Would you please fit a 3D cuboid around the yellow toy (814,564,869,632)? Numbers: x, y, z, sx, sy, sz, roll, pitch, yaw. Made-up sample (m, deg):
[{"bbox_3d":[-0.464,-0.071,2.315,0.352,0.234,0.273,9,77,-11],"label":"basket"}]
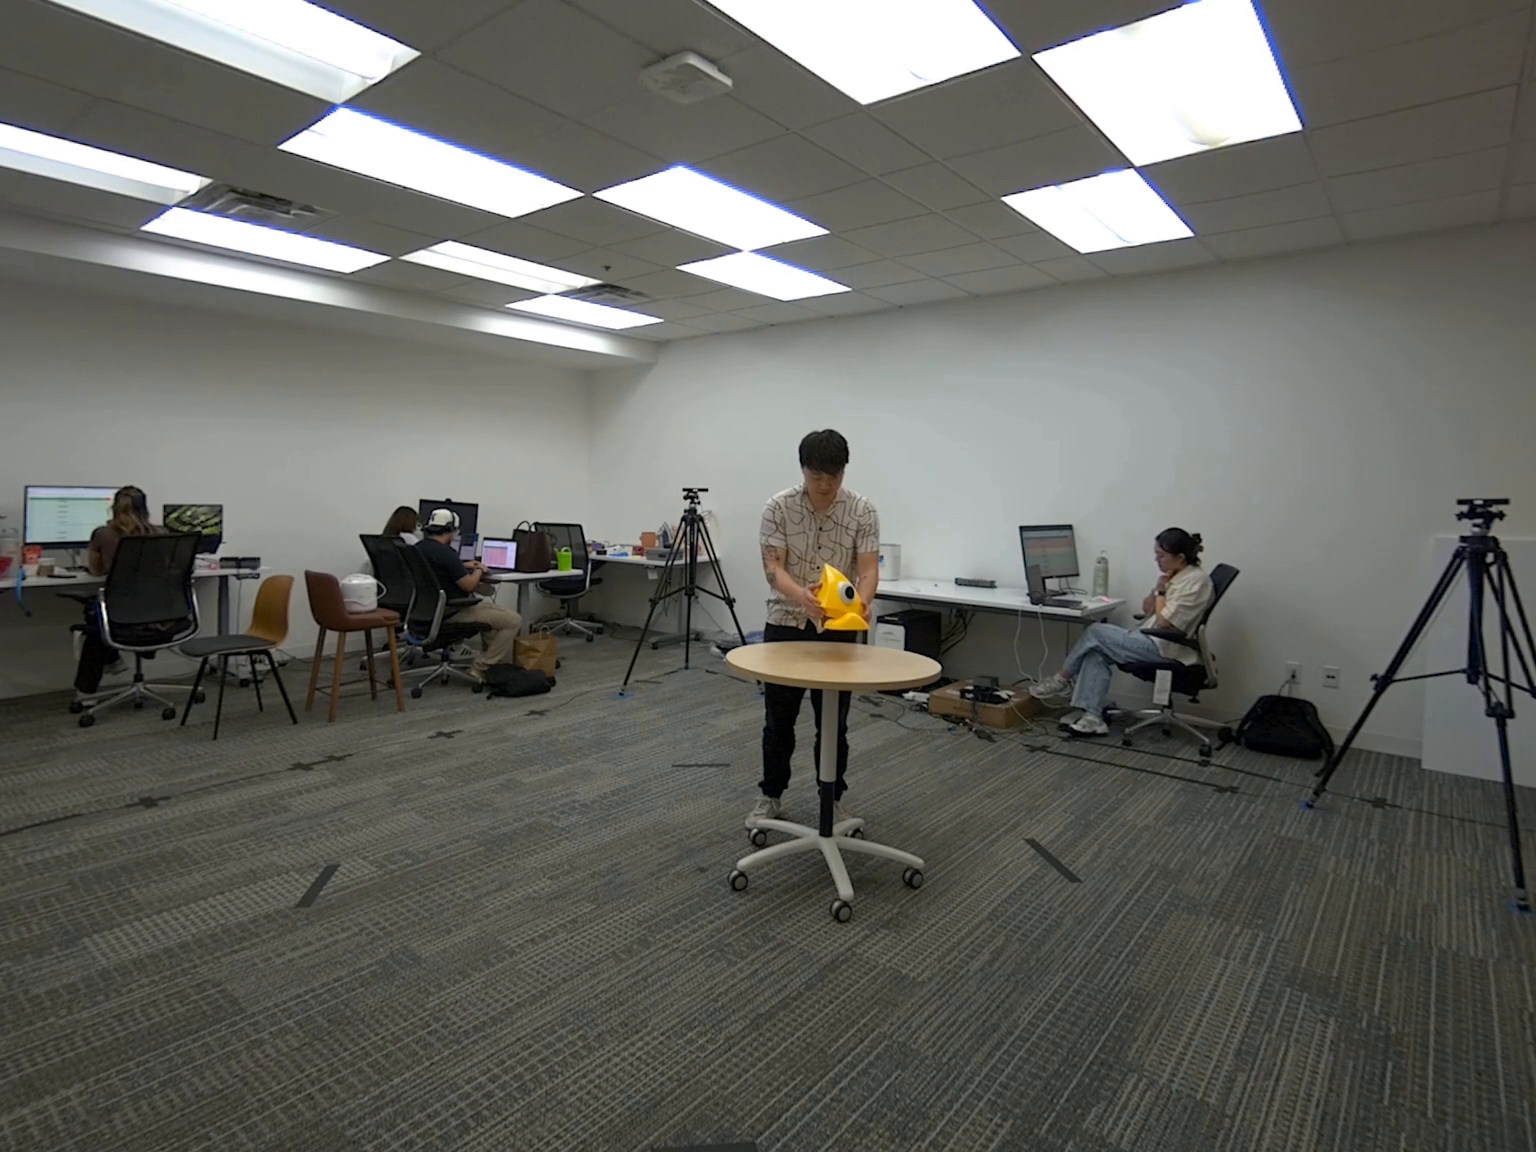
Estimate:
[{"bbox_3d":[0.260,0.069,3.104,0.191,0.231,0.207,2,0,-11],"label":"yellow toy"}]
